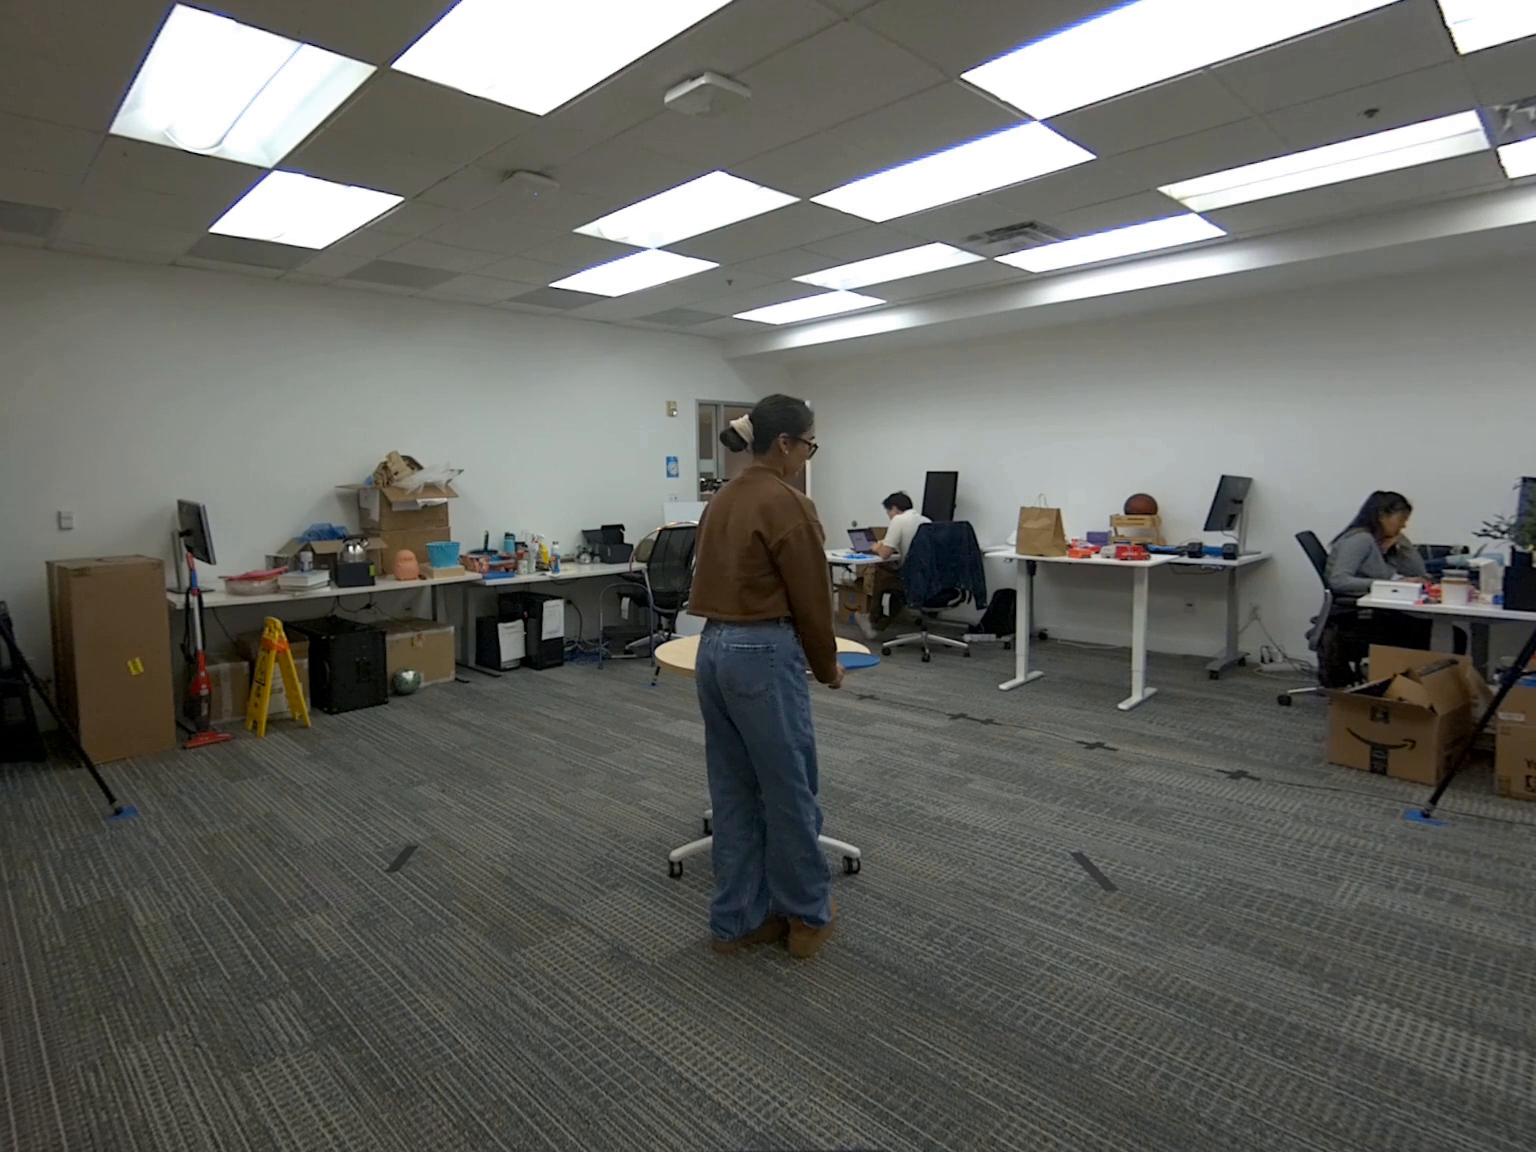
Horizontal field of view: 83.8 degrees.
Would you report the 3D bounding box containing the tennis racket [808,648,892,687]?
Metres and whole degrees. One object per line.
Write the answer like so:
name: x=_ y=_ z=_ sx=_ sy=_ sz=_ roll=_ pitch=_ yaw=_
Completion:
tennis racket: x=0.262 y=0.290 z=2.775 sx=0.217 sy=0.031 sz=0.427 roll=0 pitch=5 yaw=16
